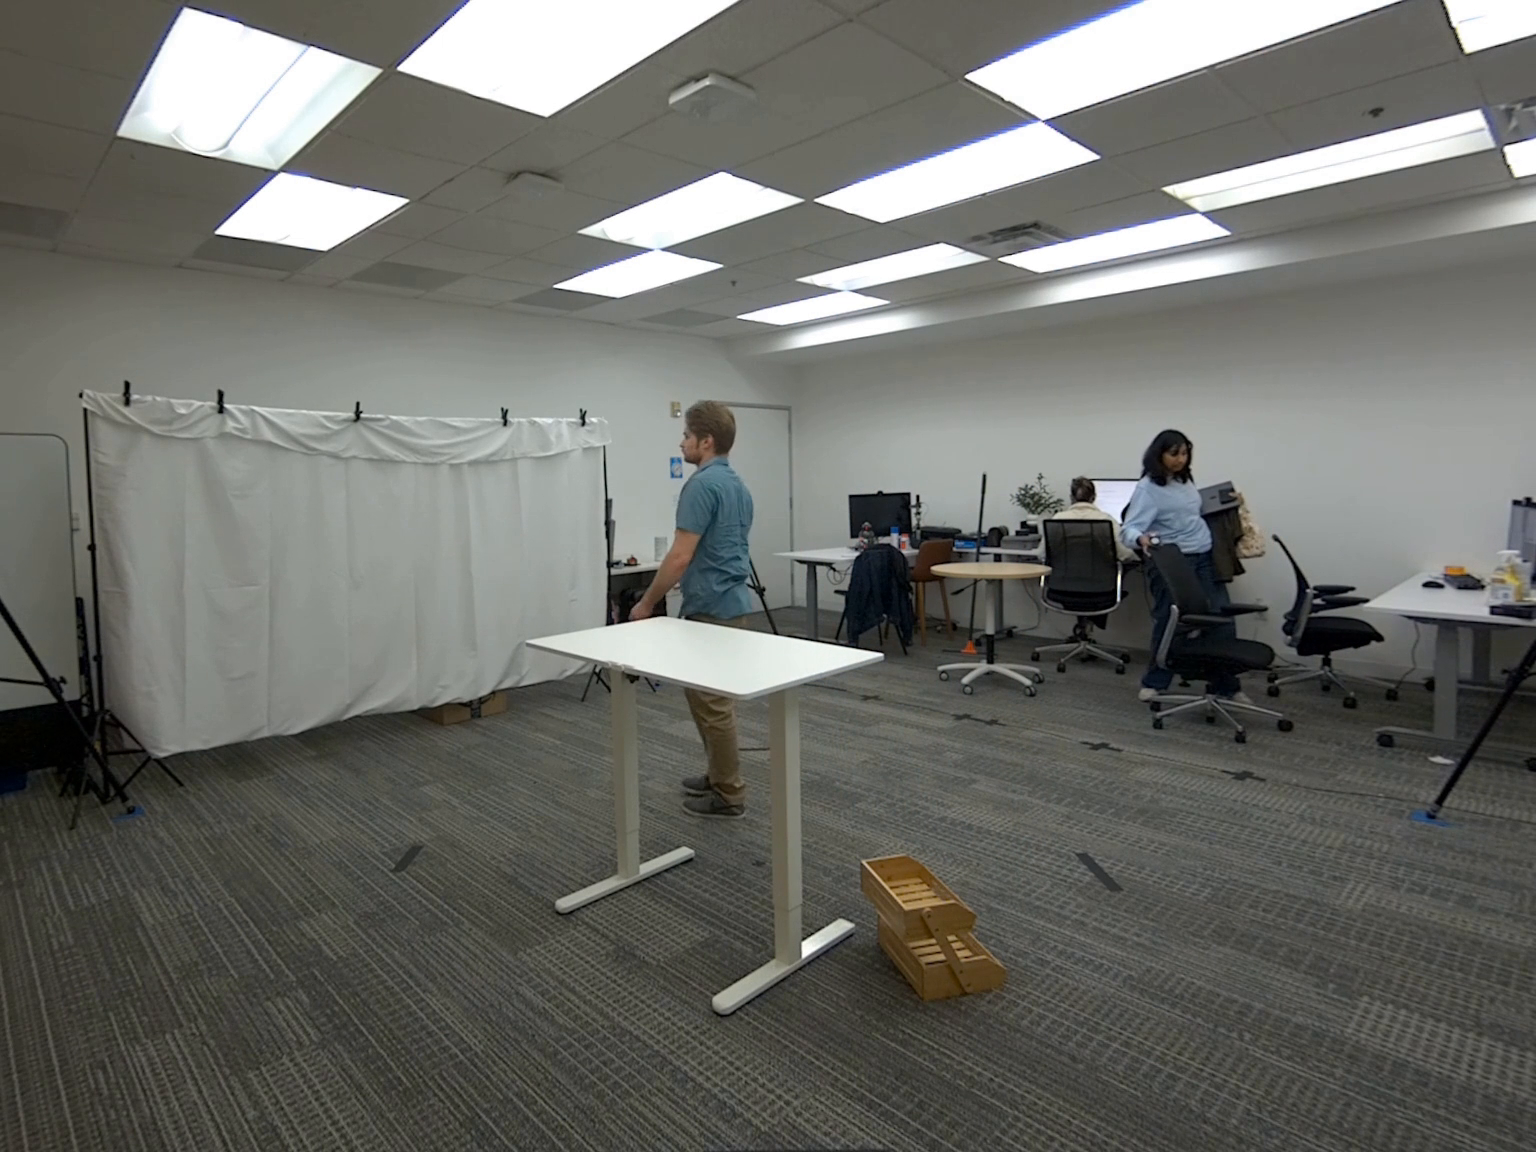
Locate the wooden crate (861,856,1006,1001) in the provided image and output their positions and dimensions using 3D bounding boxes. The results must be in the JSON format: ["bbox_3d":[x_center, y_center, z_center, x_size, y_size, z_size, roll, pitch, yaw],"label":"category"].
[{"bbox_3d":[0.473,0.981,2.436,0.298,0.272,0.330,-4,6,-16],"label":"wooden crate"}]
